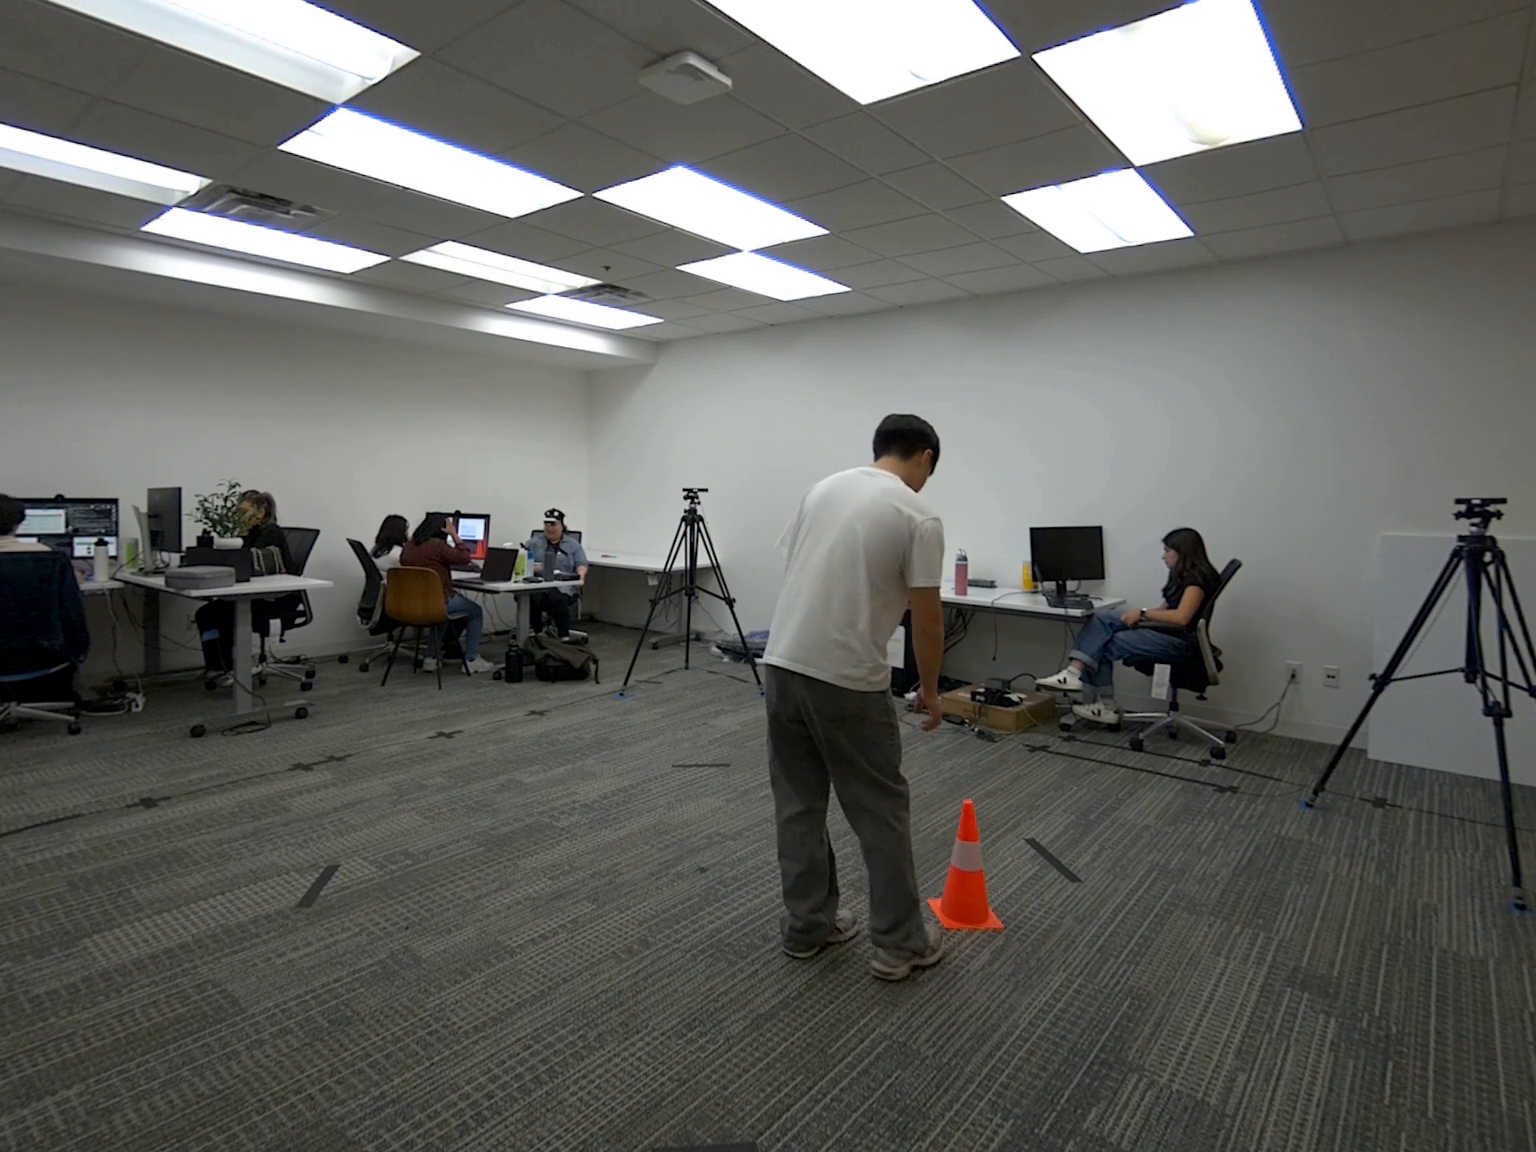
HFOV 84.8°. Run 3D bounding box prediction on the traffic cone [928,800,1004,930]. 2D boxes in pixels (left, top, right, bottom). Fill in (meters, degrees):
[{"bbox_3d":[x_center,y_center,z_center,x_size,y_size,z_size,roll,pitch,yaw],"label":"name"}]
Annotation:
[{"bbox_3d":[0.671,0.926,2.817,0.203,0.382,0.206,0,5,-7],"label":"traffic cone"}]
